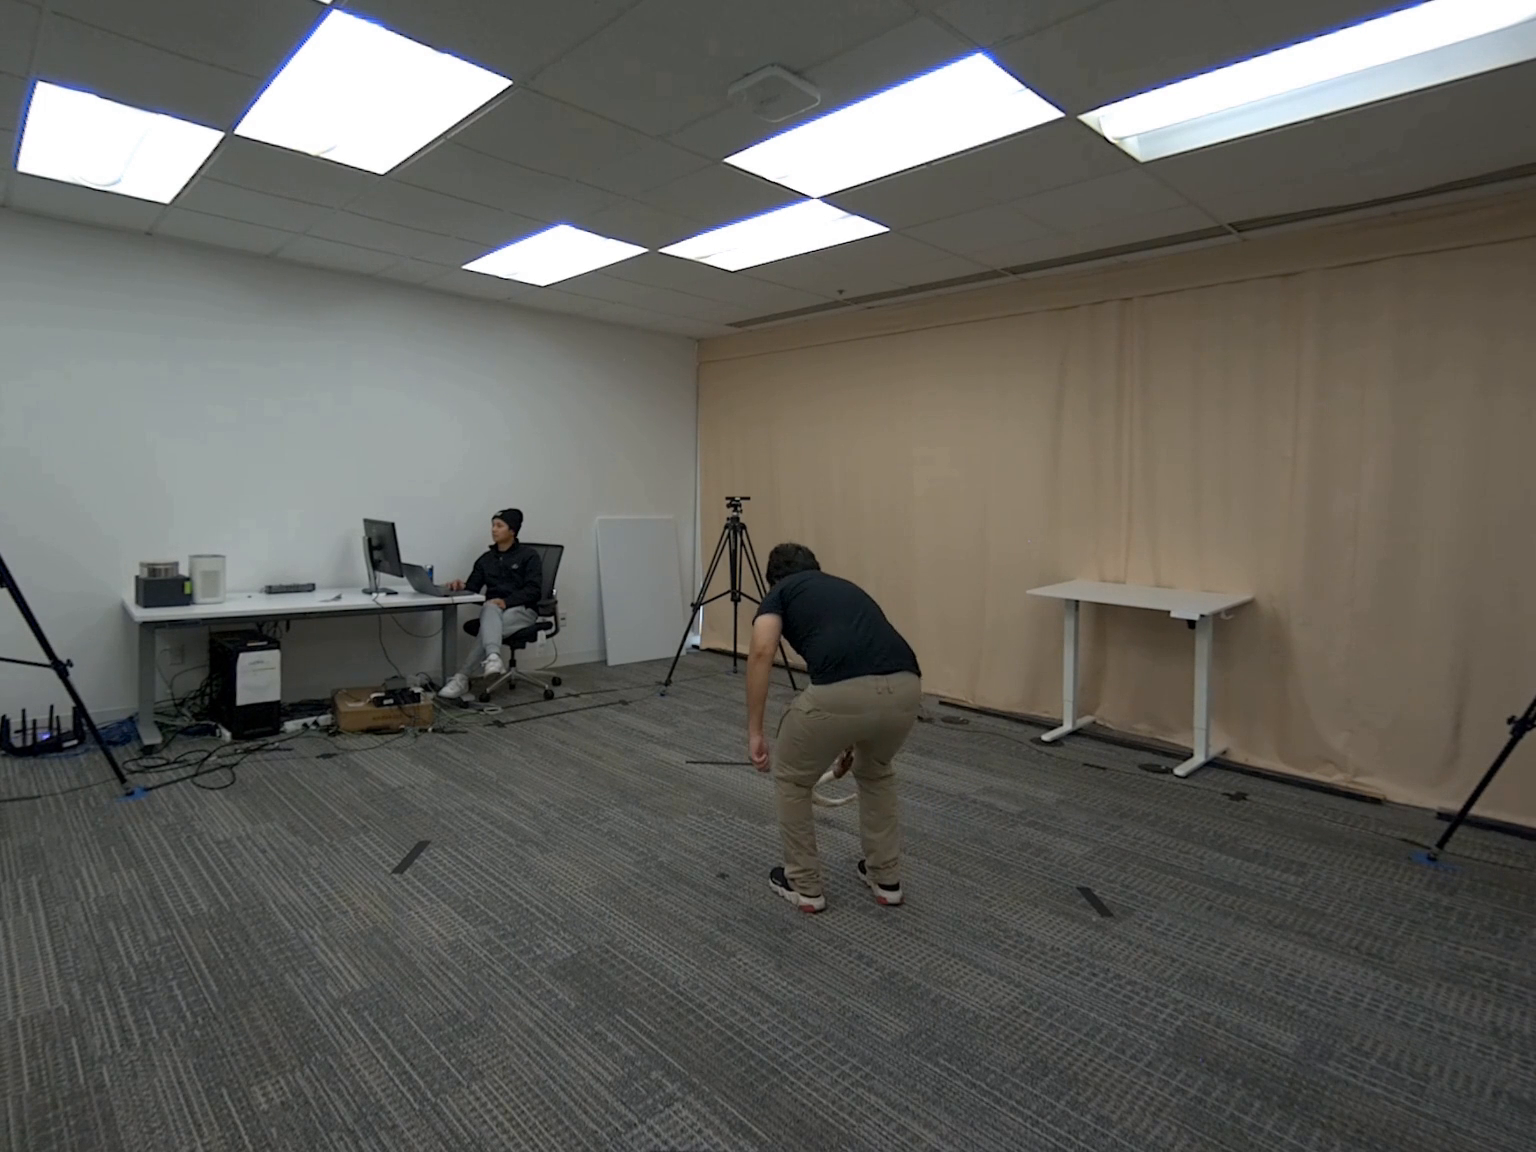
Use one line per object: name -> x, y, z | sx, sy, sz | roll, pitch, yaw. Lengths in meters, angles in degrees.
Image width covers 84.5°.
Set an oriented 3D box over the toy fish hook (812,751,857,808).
toy fish hook -> 0.306, 0.841, 3.474 | 0.222, 0.049, 0.502 | 17, -40, -10
